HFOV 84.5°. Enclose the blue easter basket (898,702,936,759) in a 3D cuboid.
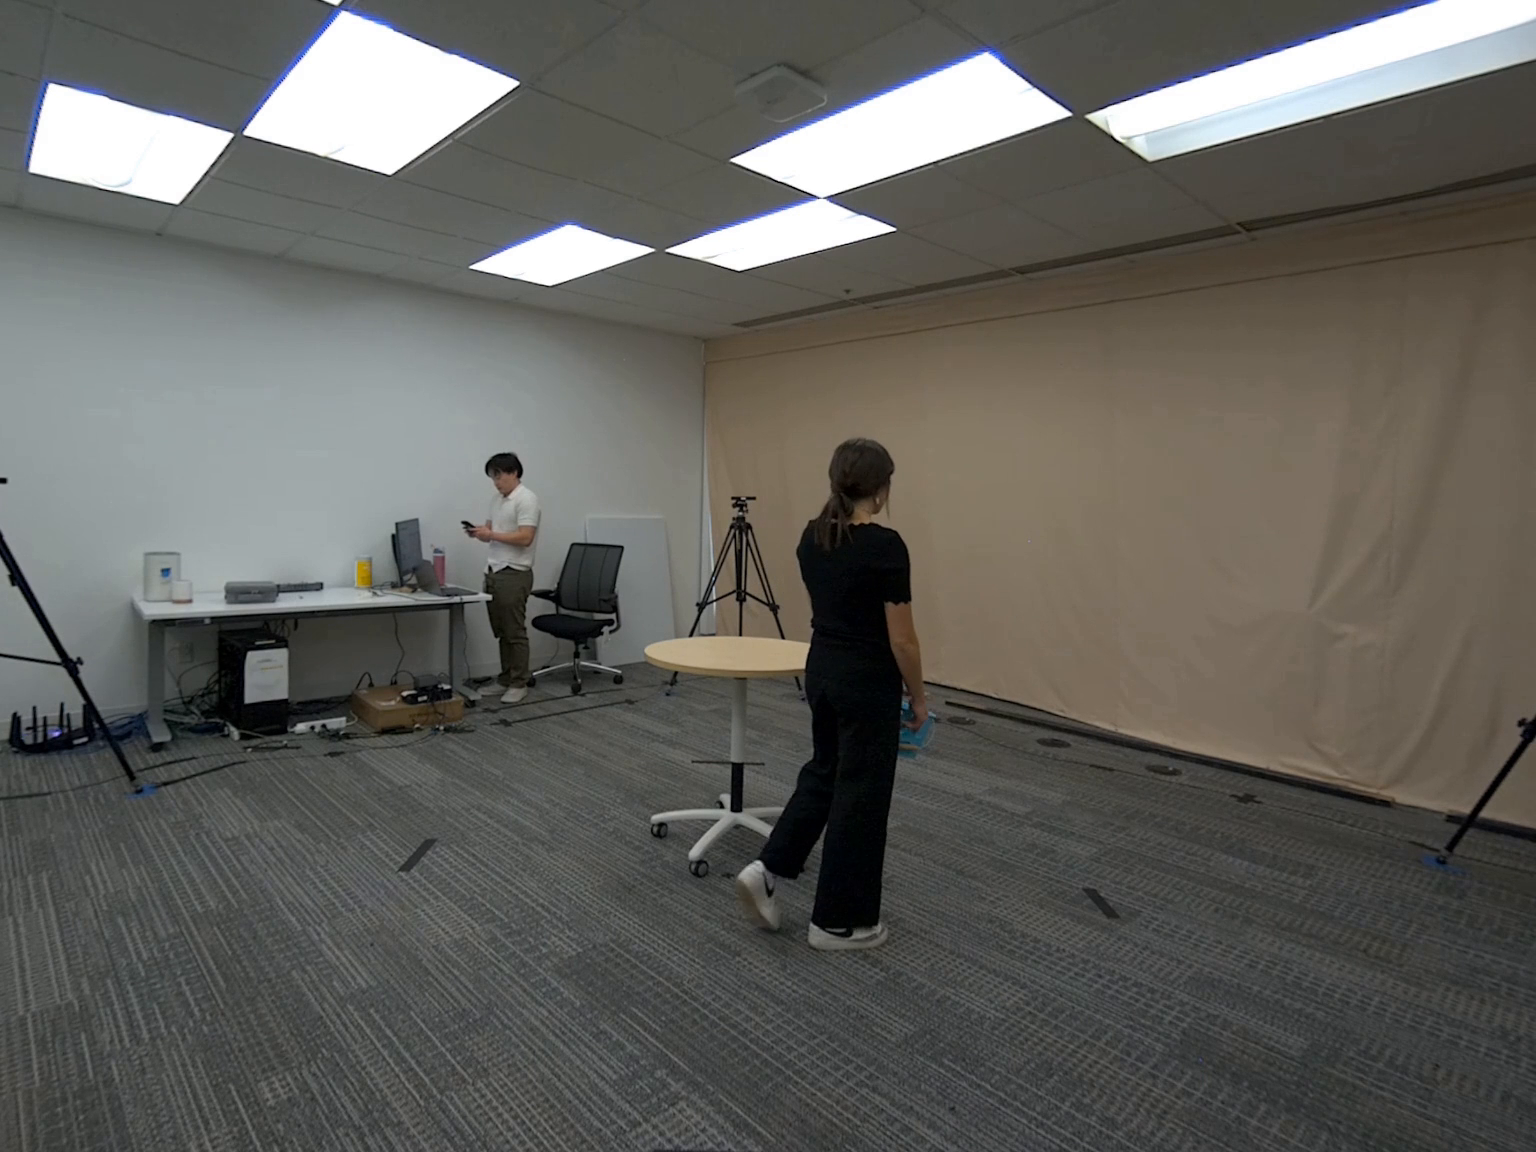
[{"bbox_3d":[0.425,0.489,2.761,0.243,0.156,0.243,15,-1,-1],"label":"blue easter basket"}]
